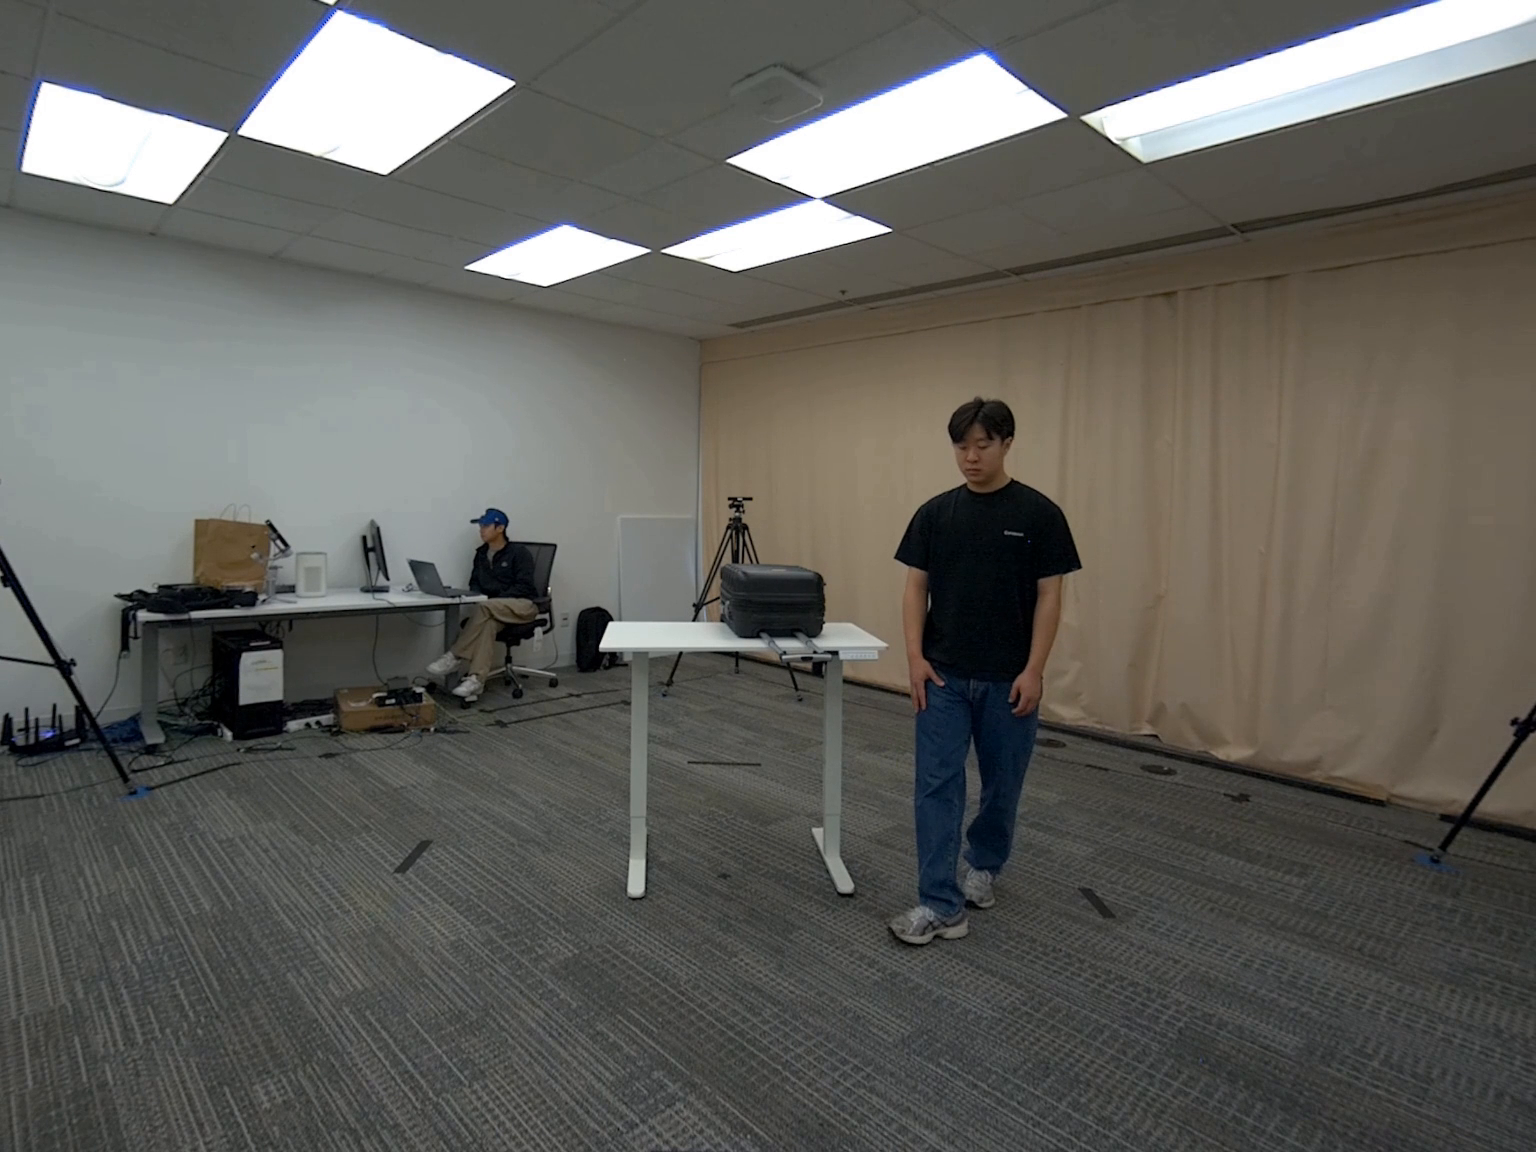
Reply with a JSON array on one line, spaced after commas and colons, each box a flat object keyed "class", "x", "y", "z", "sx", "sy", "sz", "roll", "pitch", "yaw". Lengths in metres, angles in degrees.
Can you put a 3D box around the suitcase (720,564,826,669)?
[{"class": "suitcase", "x": 0.038, "y": 0.108, "z": 3.098, "sx": 0.381, "sy": 0.257, "sz": 0.987, "roll": 1, "pitch": 3, "yaw": -10}]
